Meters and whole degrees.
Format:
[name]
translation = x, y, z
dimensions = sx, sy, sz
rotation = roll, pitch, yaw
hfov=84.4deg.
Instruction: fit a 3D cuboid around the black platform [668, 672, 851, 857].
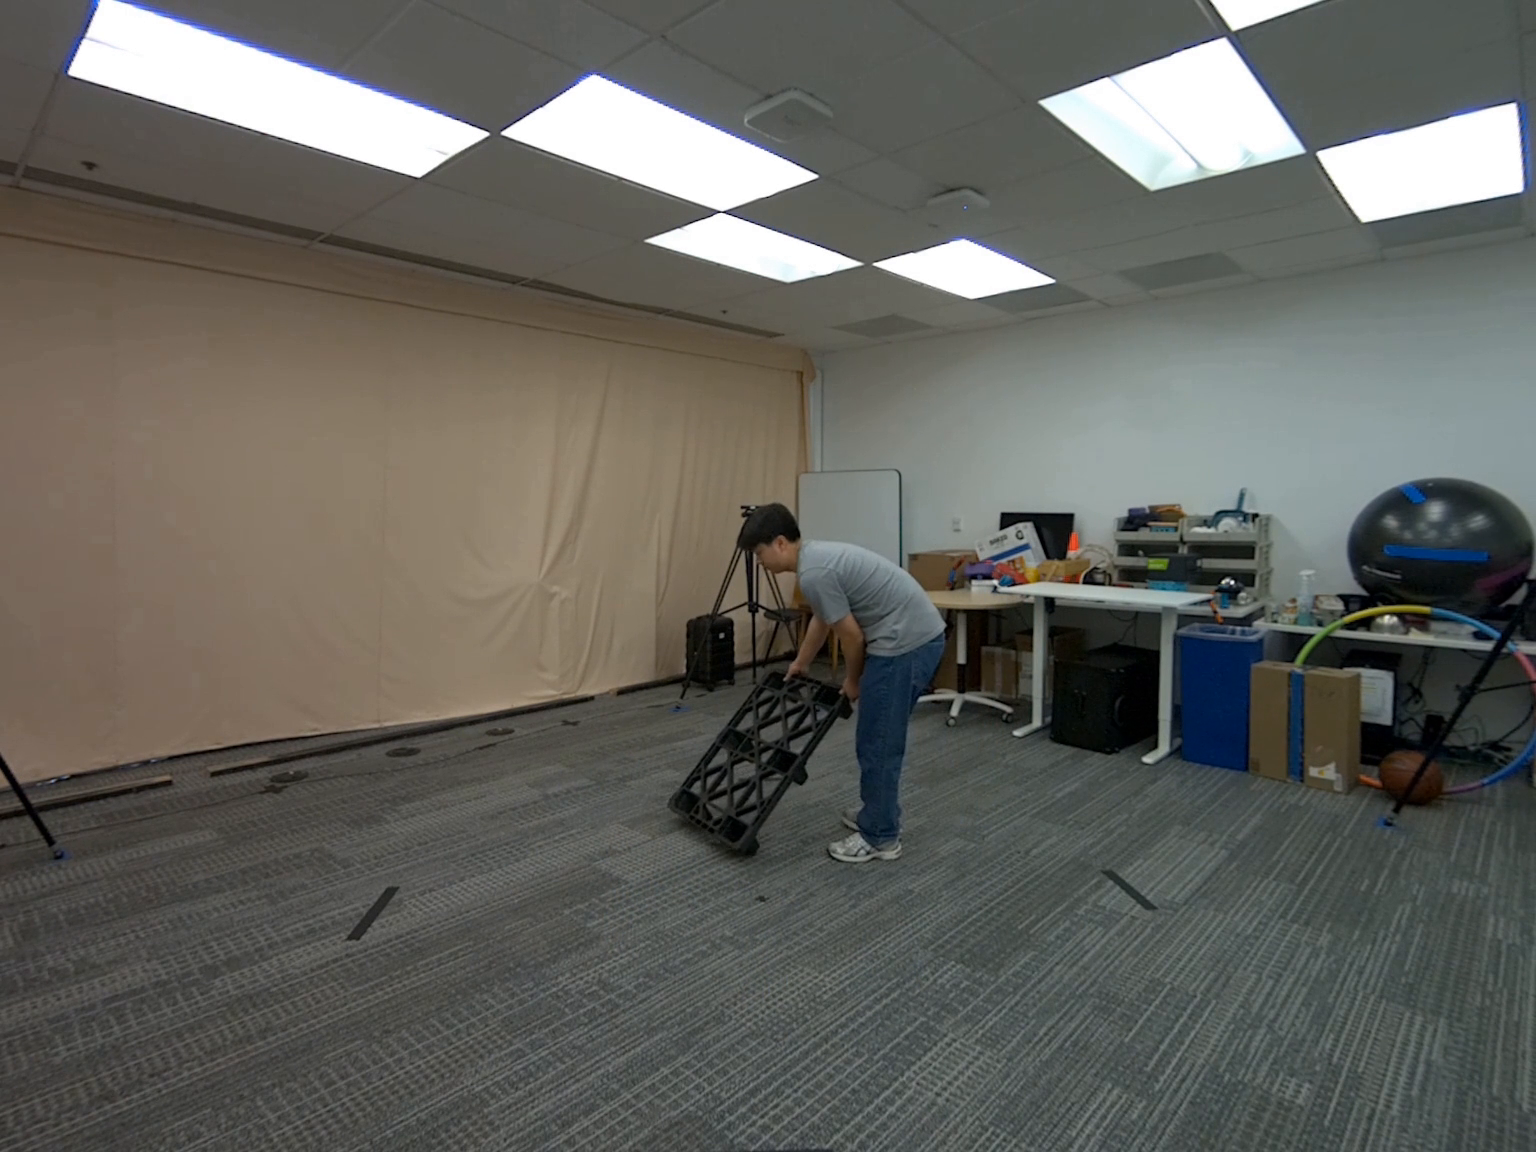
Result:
[black platform]
translation = -0.014, 0.780, 3.634
dimensions = 0.139, 0.803, 0.623
rotation = 48, -21, -26
